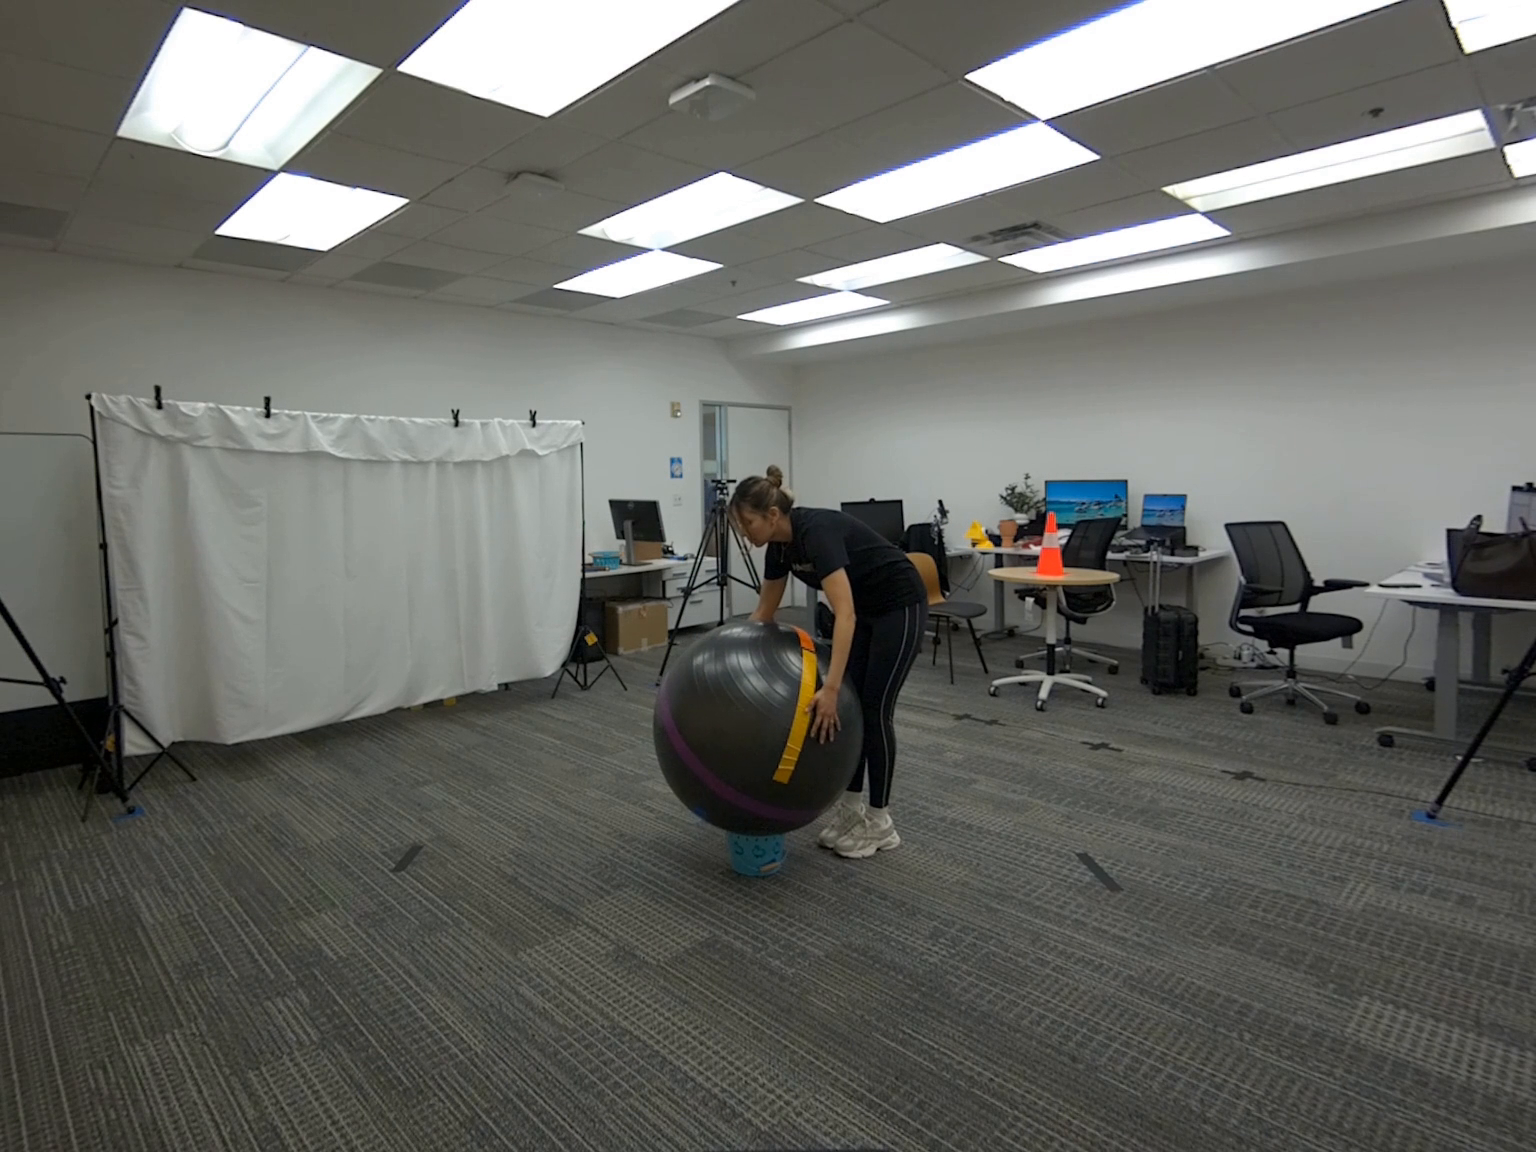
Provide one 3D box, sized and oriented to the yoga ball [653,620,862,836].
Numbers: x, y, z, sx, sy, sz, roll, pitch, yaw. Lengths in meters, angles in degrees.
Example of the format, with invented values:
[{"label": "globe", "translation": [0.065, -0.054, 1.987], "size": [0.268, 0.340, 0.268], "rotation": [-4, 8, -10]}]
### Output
[{"label": "yoga ball", "translation": [-0.042, 0.536, 3.075], "size": [0.757, 0.755, 0.762], "rotation": [-1, 5, -2]}]
